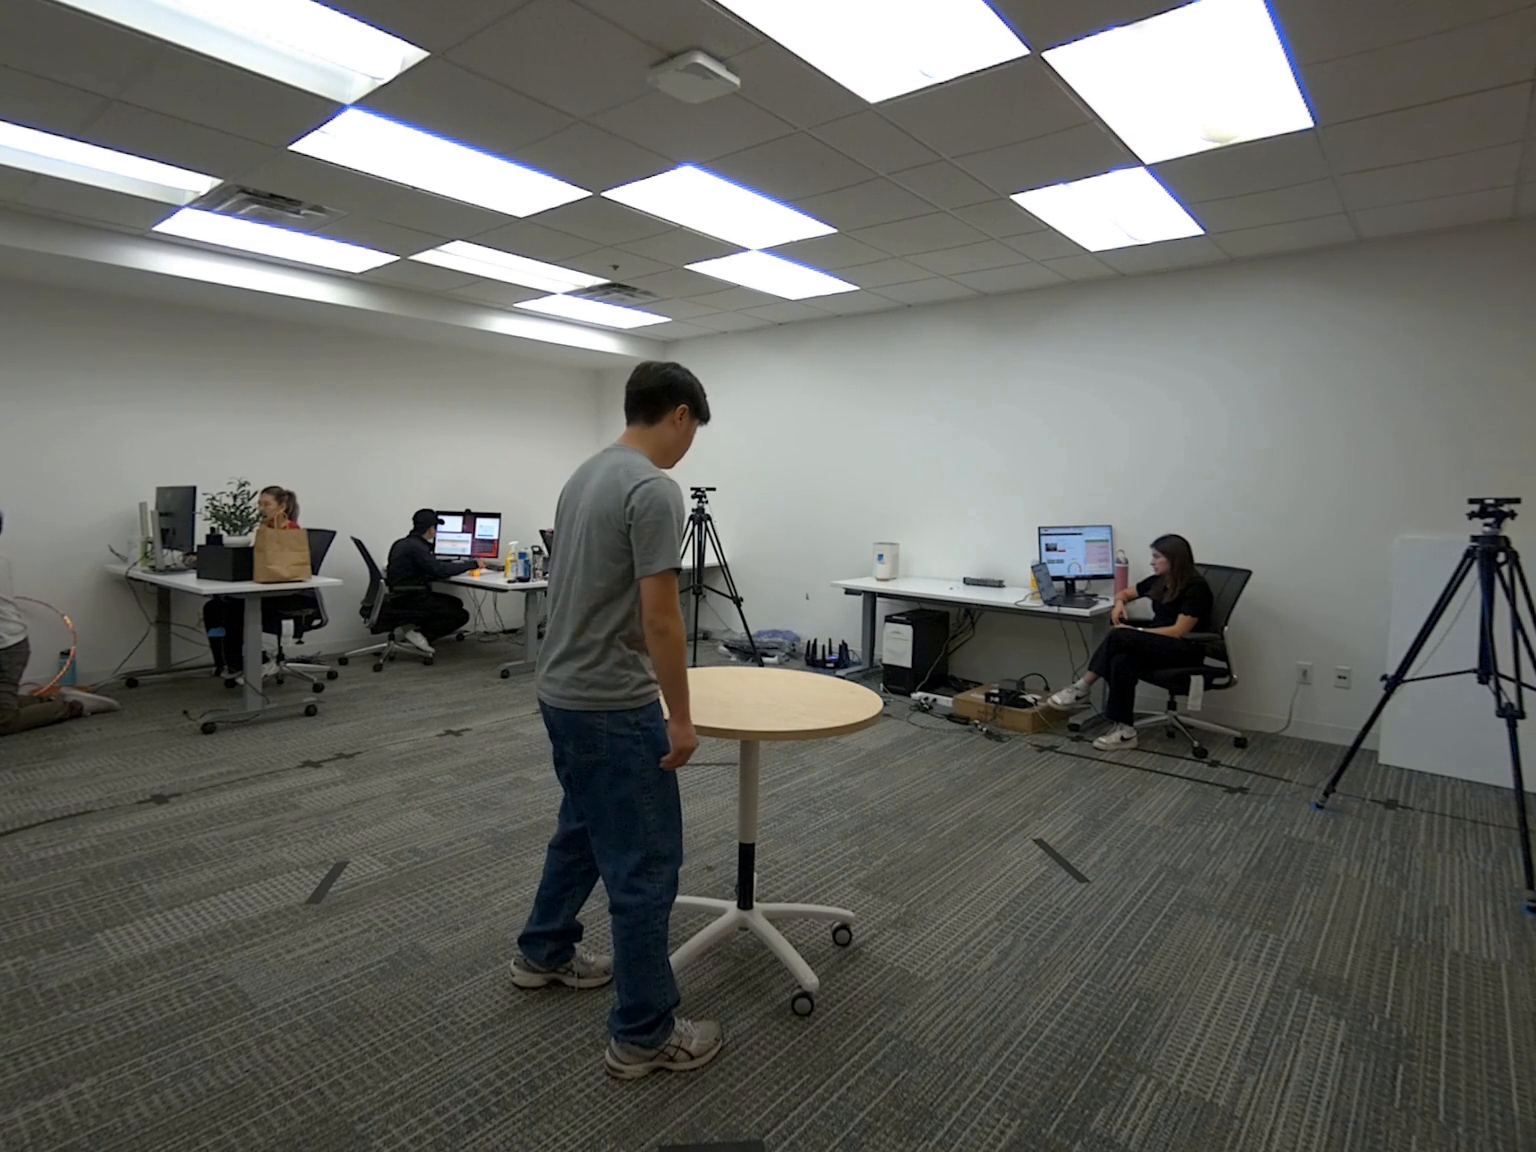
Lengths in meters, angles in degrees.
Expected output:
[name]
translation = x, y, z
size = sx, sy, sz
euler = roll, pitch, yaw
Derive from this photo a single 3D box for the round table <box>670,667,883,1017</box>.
[round table]
translation = -0.068, 0.740, 2.533
size = 0.763, 0.791, 0.768
euler = 1, 5, -2
